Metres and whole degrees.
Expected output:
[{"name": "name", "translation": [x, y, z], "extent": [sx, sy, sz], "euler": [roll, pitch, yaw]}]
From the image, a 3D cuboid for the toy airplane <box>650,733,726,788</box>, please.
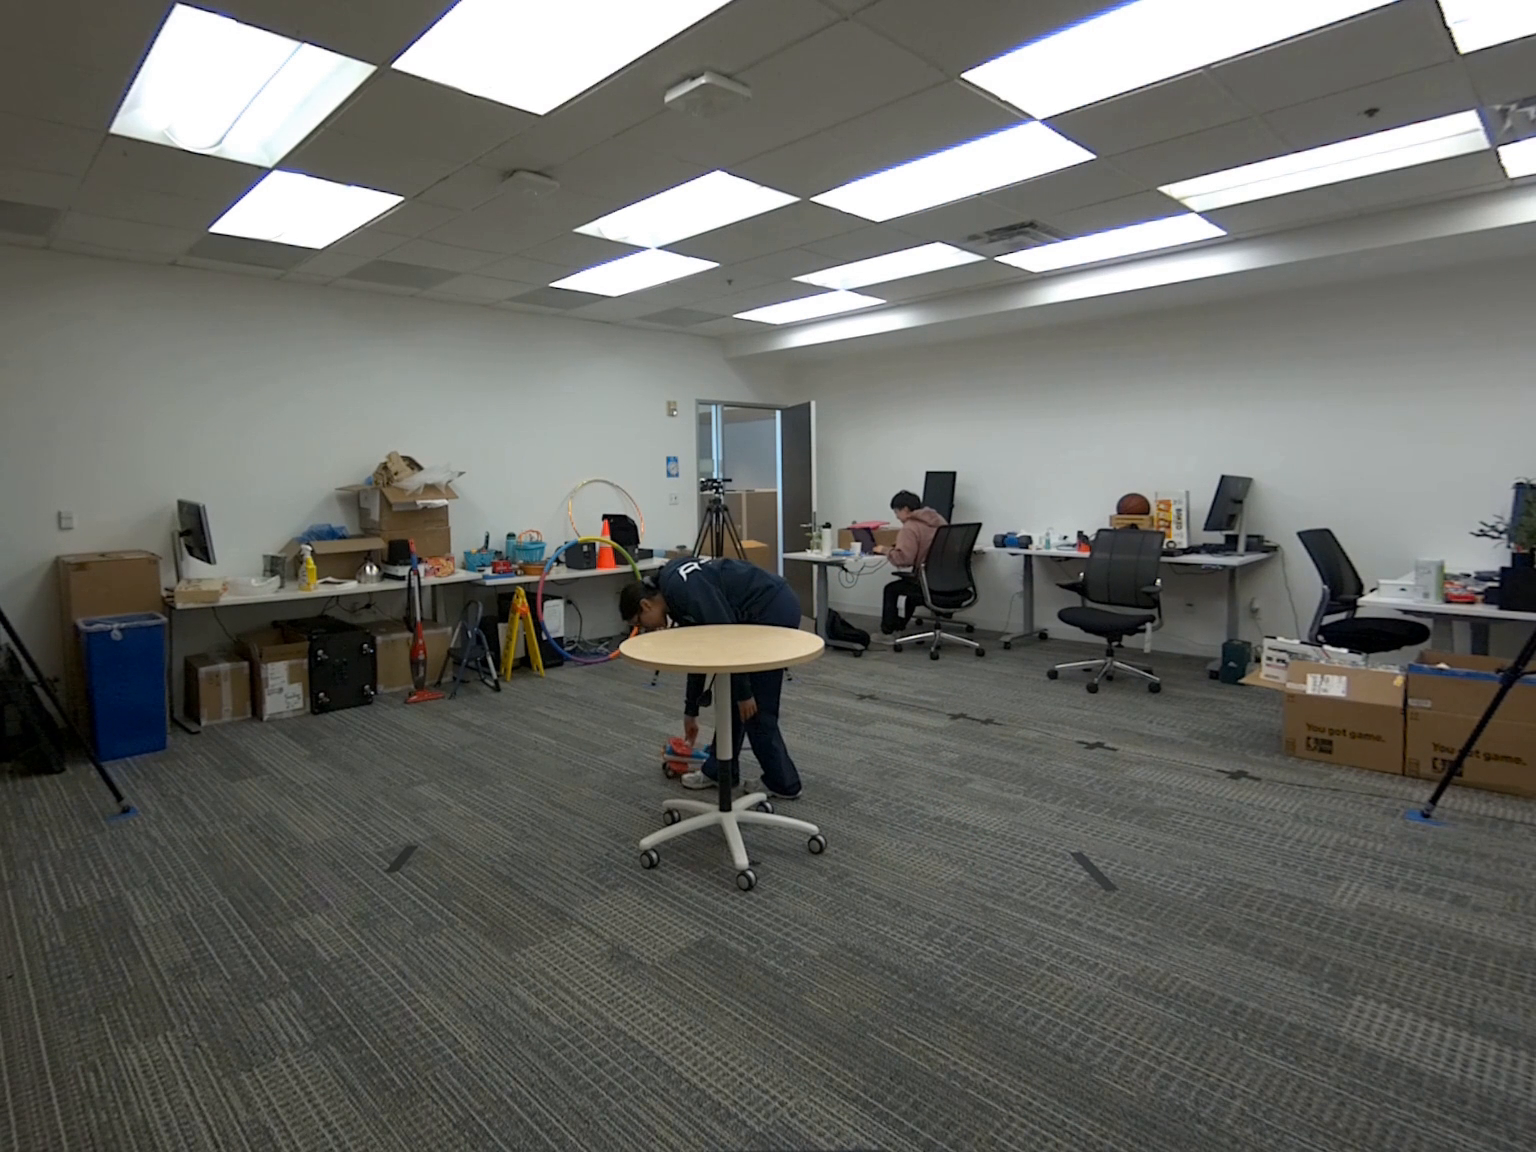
[{"name": "toy airplane", "translation": [-0.385, 0.870, 4.099], "extent": [0.252, 0.156, 0.259], "euler": [-5, 7, -42]}]
